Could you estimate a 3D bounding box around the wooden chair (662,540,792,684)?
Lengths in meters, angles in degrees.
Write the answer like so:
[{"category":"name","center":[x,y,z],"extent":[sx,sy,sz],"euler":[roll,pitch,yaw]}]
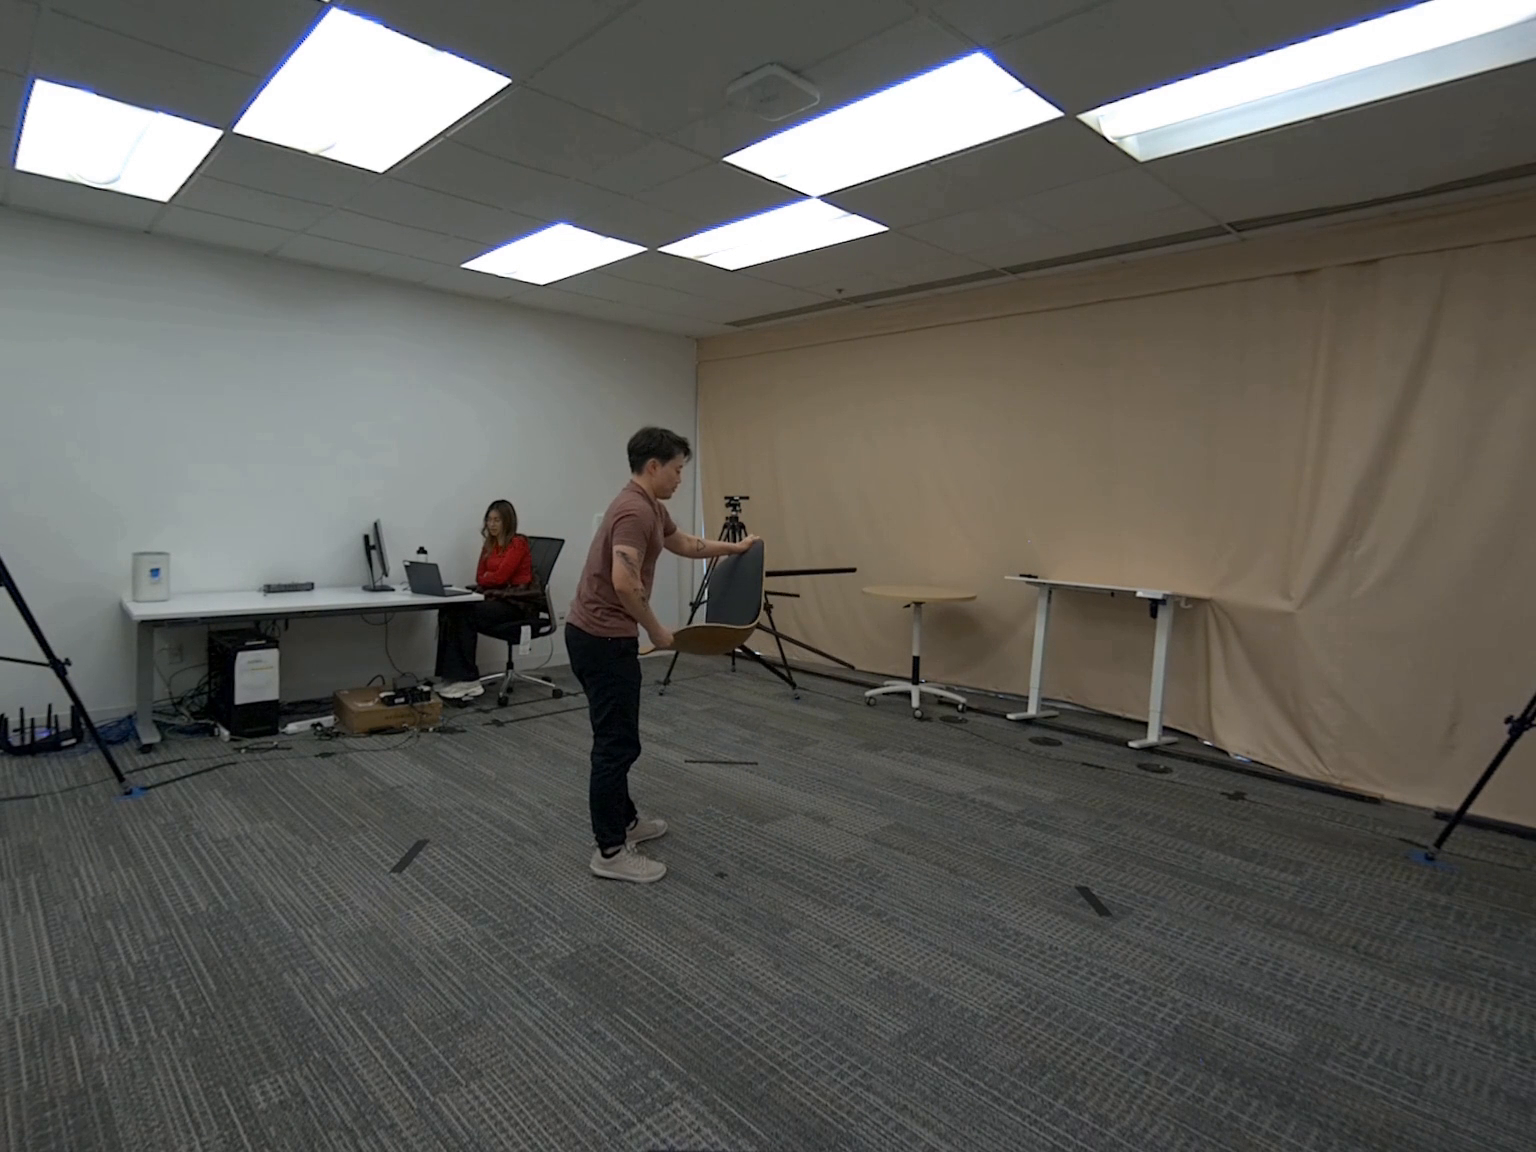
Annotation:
[{"category":"wooden chair","center":[-0.119,0.129,3.568],"extent":[0.858,0.531,0.482],"euler":[11,-23,-28]}]
